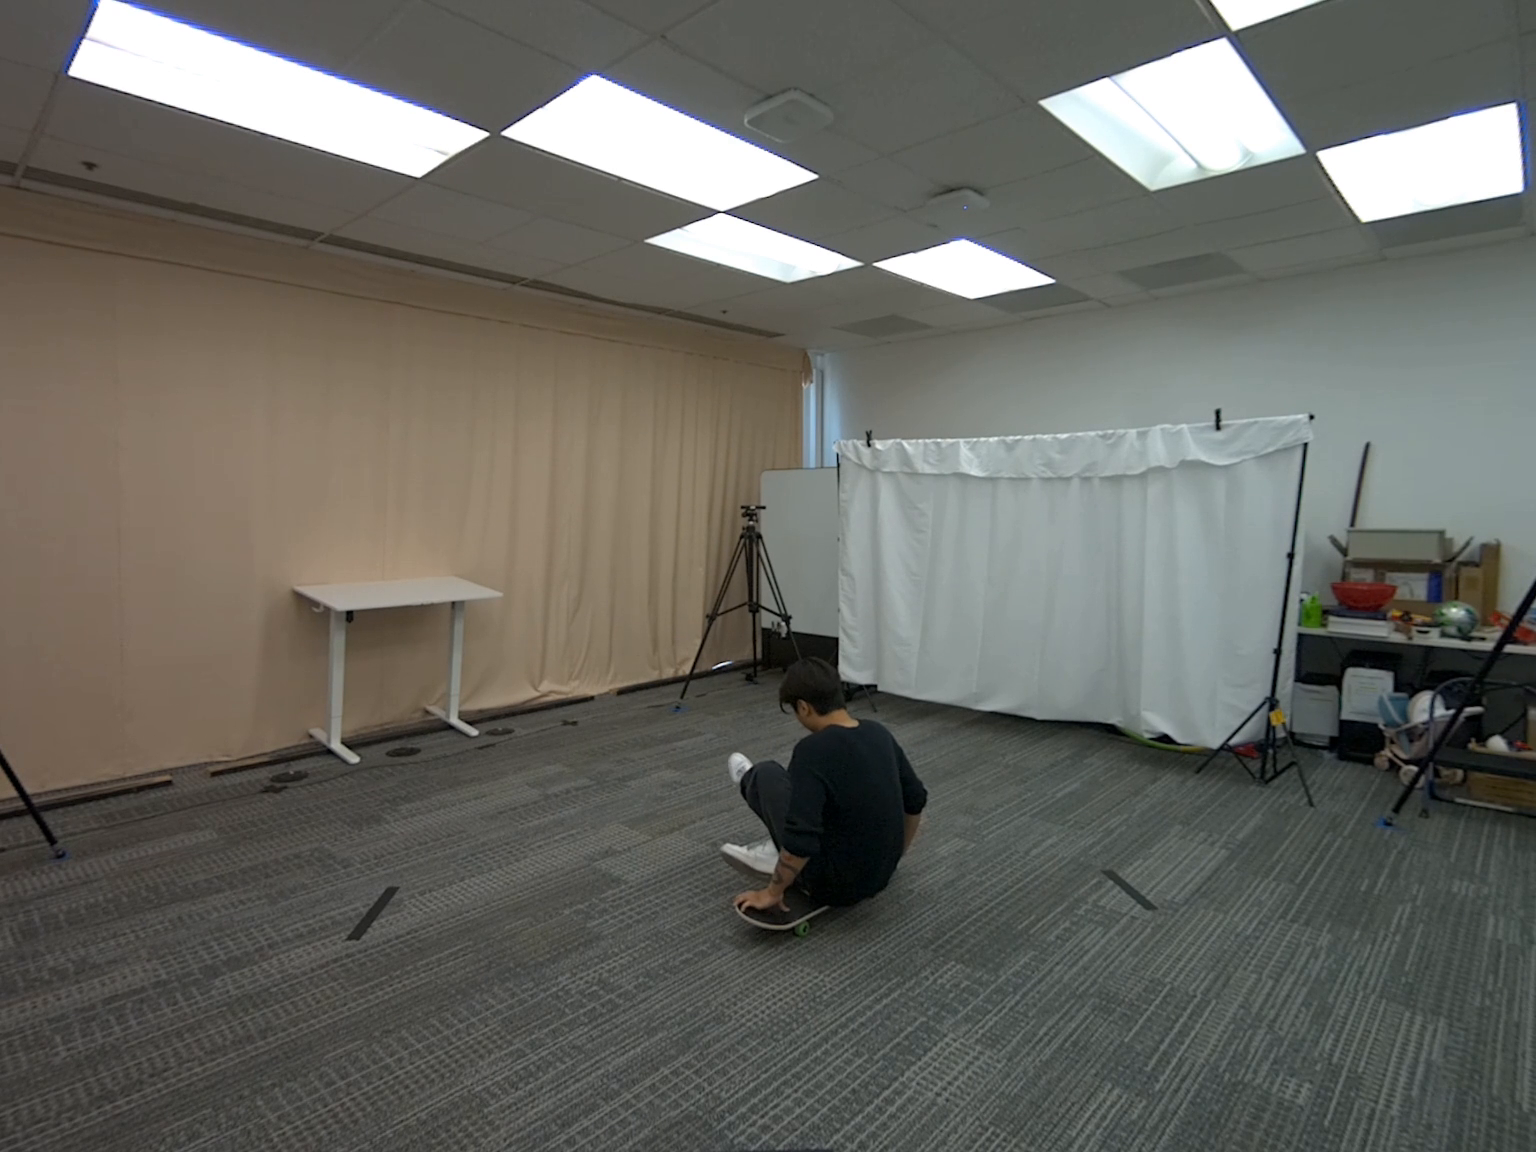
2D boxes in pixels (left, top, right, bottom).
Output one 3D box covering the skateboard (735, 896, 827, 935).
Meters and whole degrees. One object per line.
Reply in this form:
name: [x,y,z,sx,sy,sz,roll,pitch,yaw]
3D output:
skateboard: [0.191,1.106,2.912,0.761,0.110,0.200,-5,14,-44]
